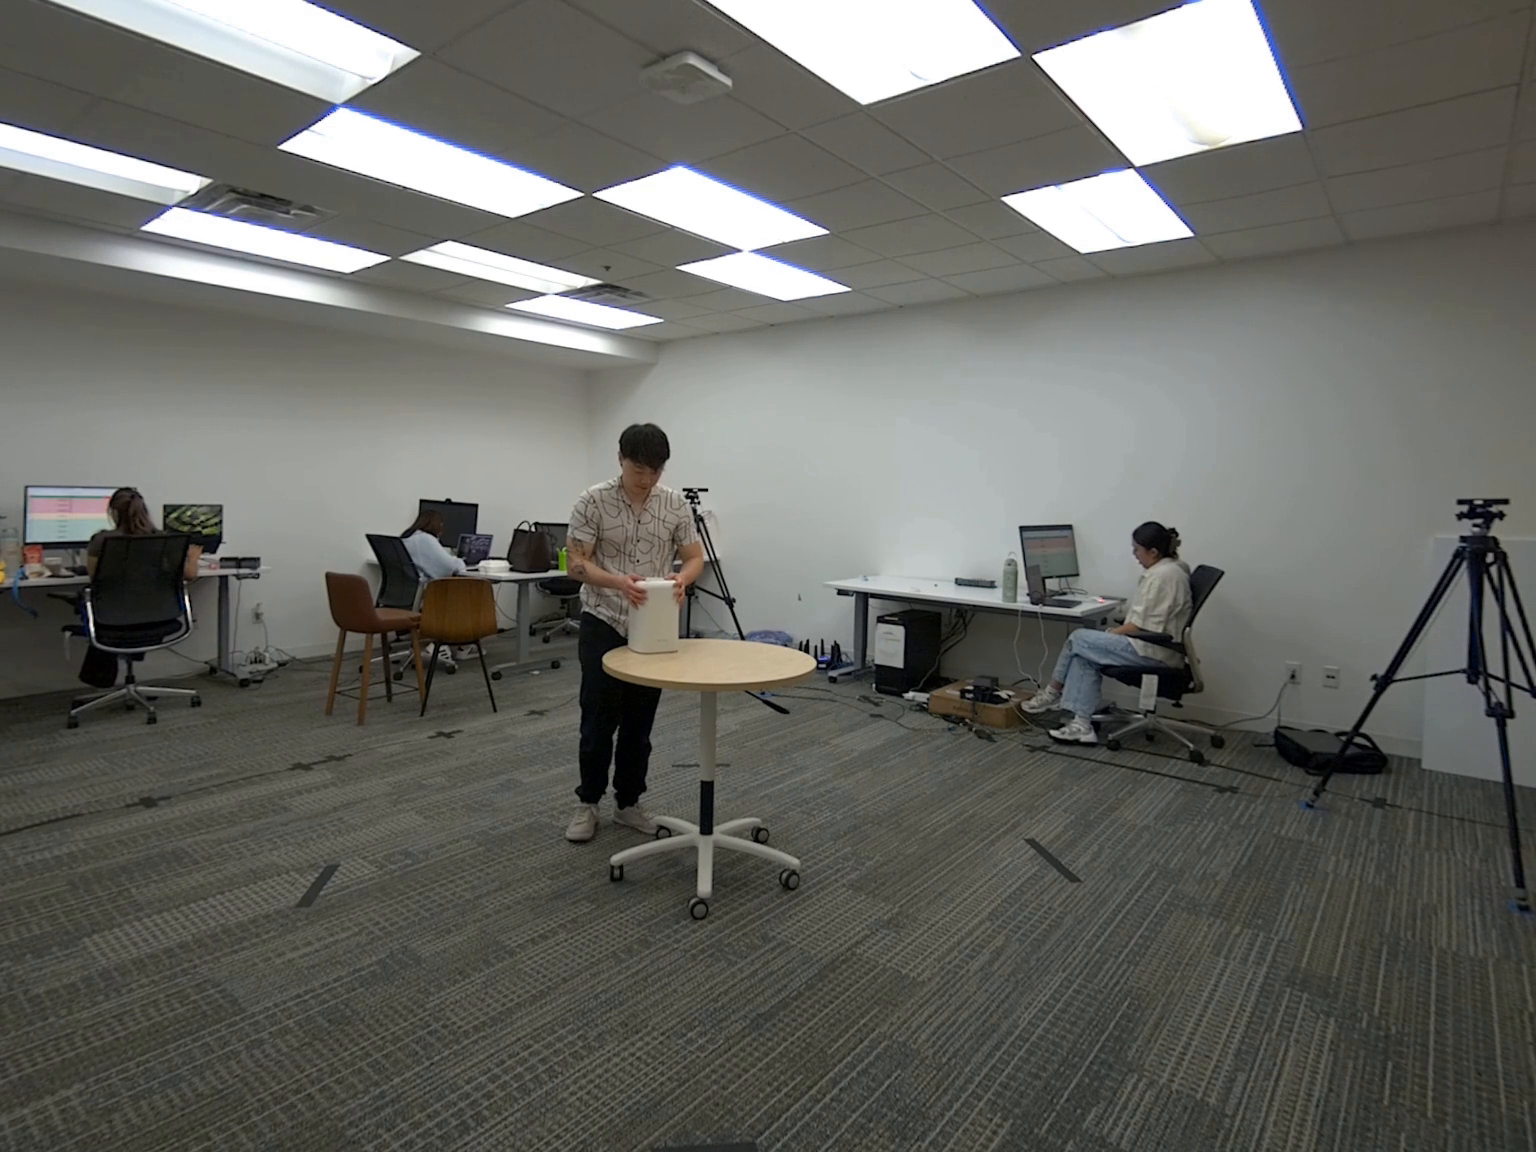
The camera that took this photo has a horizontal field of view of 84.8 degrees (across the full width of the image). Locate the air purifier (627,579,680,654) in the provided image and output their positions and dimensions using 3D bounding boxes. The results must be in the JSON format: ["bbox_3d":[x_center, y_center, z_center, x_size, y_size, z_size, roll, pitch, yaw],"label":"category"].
[{"bbox_3d":[-0.441,0.147,3.189,0.167,0.264,0.176,-4,5,-22],"label":"air purifier"}]
